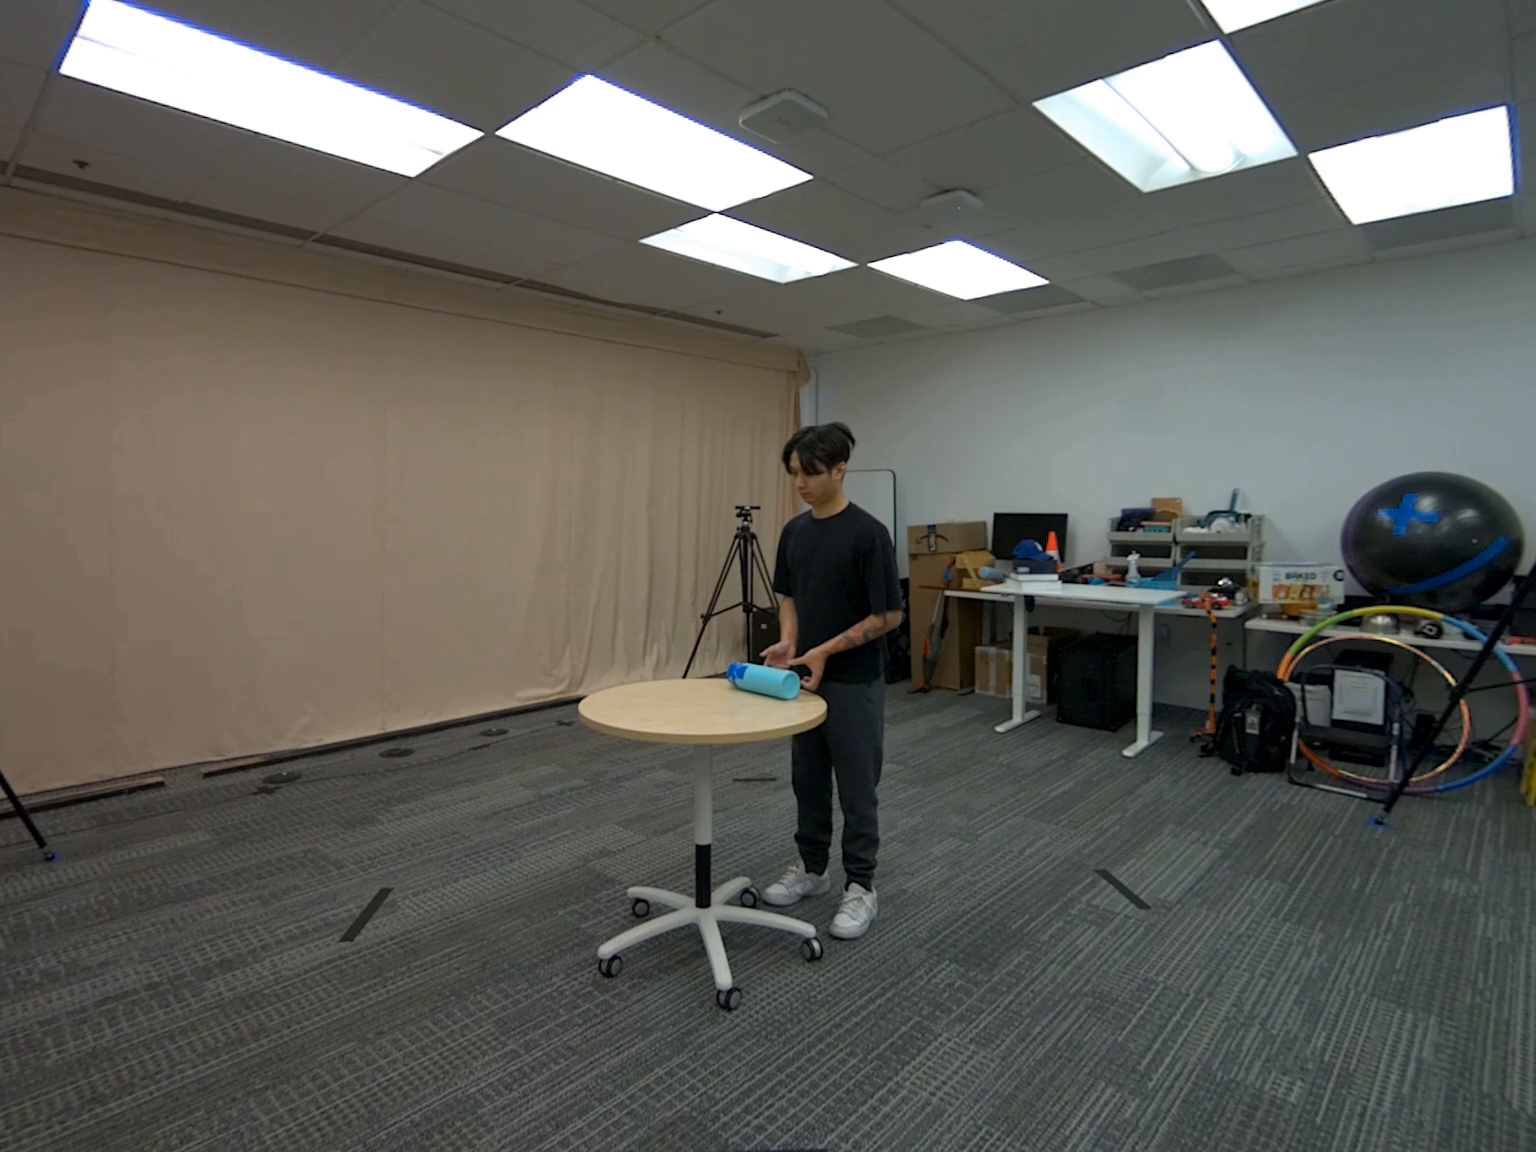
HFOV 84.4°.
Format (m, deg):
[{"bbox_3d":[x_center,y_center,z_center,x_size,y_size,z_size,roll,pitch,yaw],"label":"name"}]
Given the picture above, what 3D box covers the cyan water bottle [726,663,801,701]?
[{"bbox_3d":[-0.022,0.337,2.756,0.089,0.092,0.293,-3,5,-43],"label":"cyan water bottle"}]
